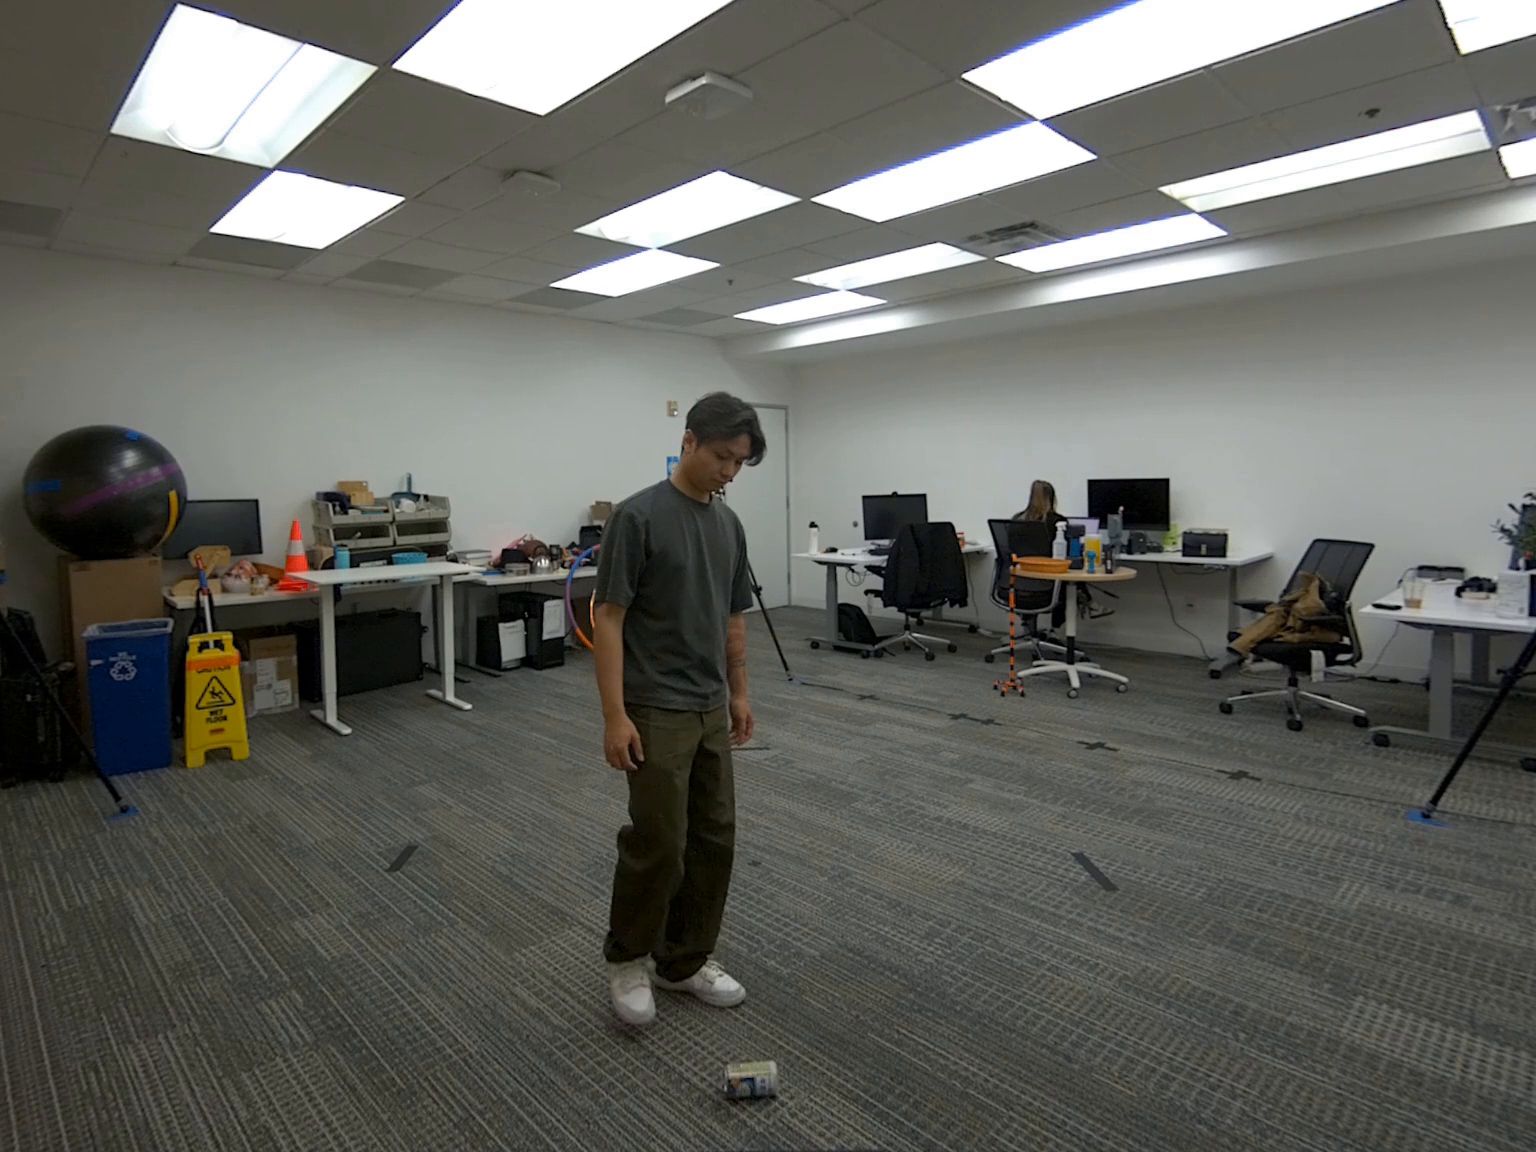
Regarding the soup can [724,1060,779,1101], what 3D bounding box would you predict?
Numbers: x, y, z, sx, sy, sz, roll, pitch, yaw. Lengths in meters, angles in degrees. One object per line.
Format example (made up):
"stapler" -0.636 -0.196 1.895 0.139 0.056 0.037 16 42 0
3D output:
"soup can" -0.036 1.144 1.947 0.121 0.067 0.068 -3 5 -8
